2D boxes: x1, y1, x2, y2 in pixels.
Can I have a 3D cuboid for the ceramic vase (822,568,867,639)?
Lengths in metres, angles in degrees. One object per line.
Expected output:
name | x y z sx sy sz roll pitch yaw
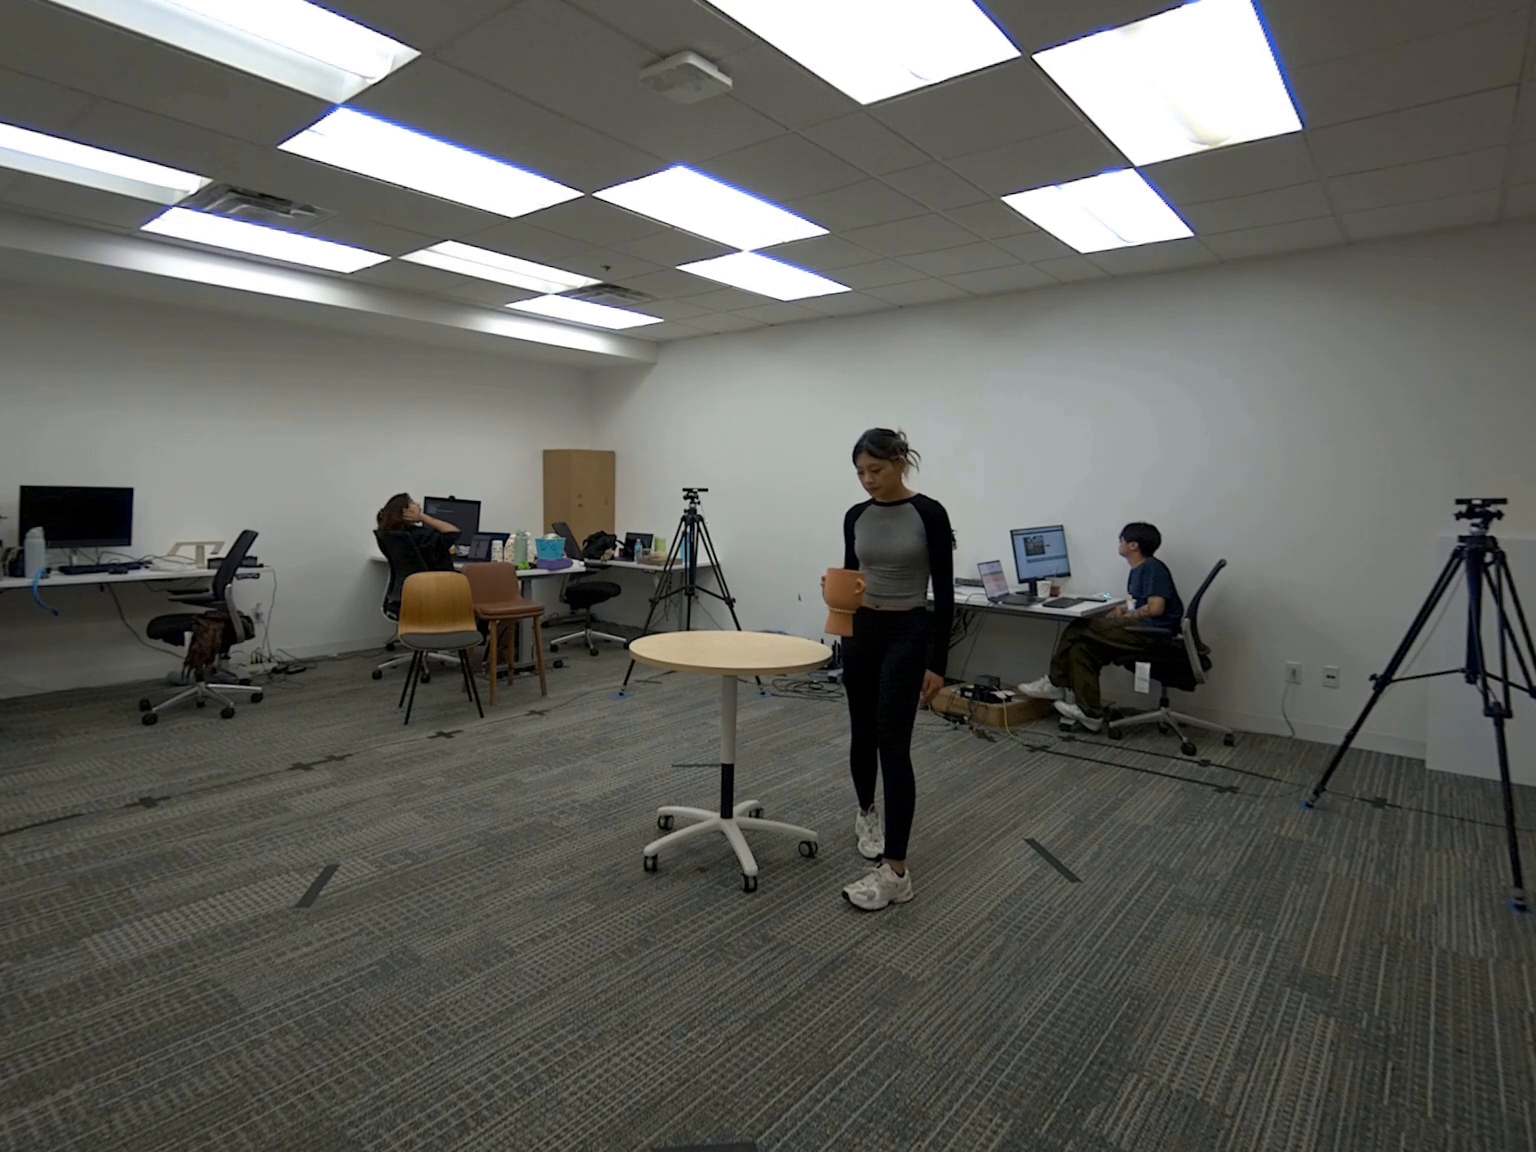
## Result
ceramic vase | 0.245 0.089 2.883 0.136 0.219 0.157 6 1 11
